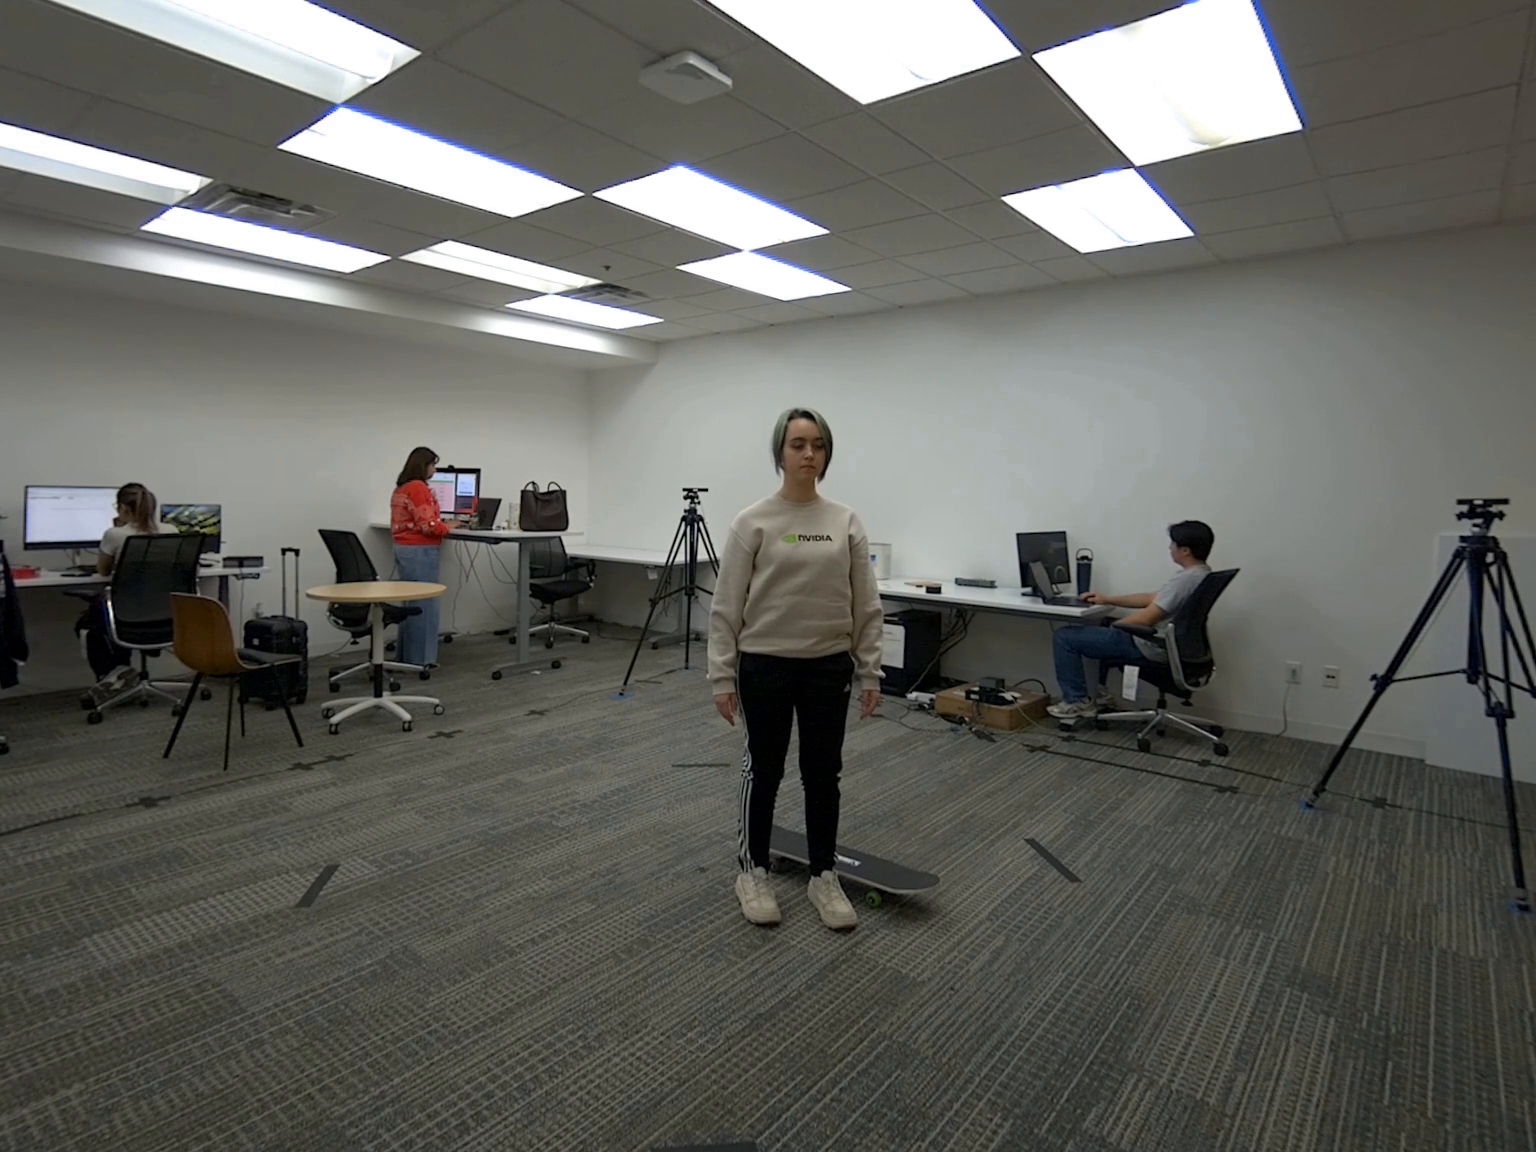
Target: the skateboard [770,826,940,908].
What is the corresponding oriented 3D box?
[{"bbox_3d":[0.229,1.030,3.036,0.811,0.110,0.188,5,7,36],"label":"skateboard"}]
